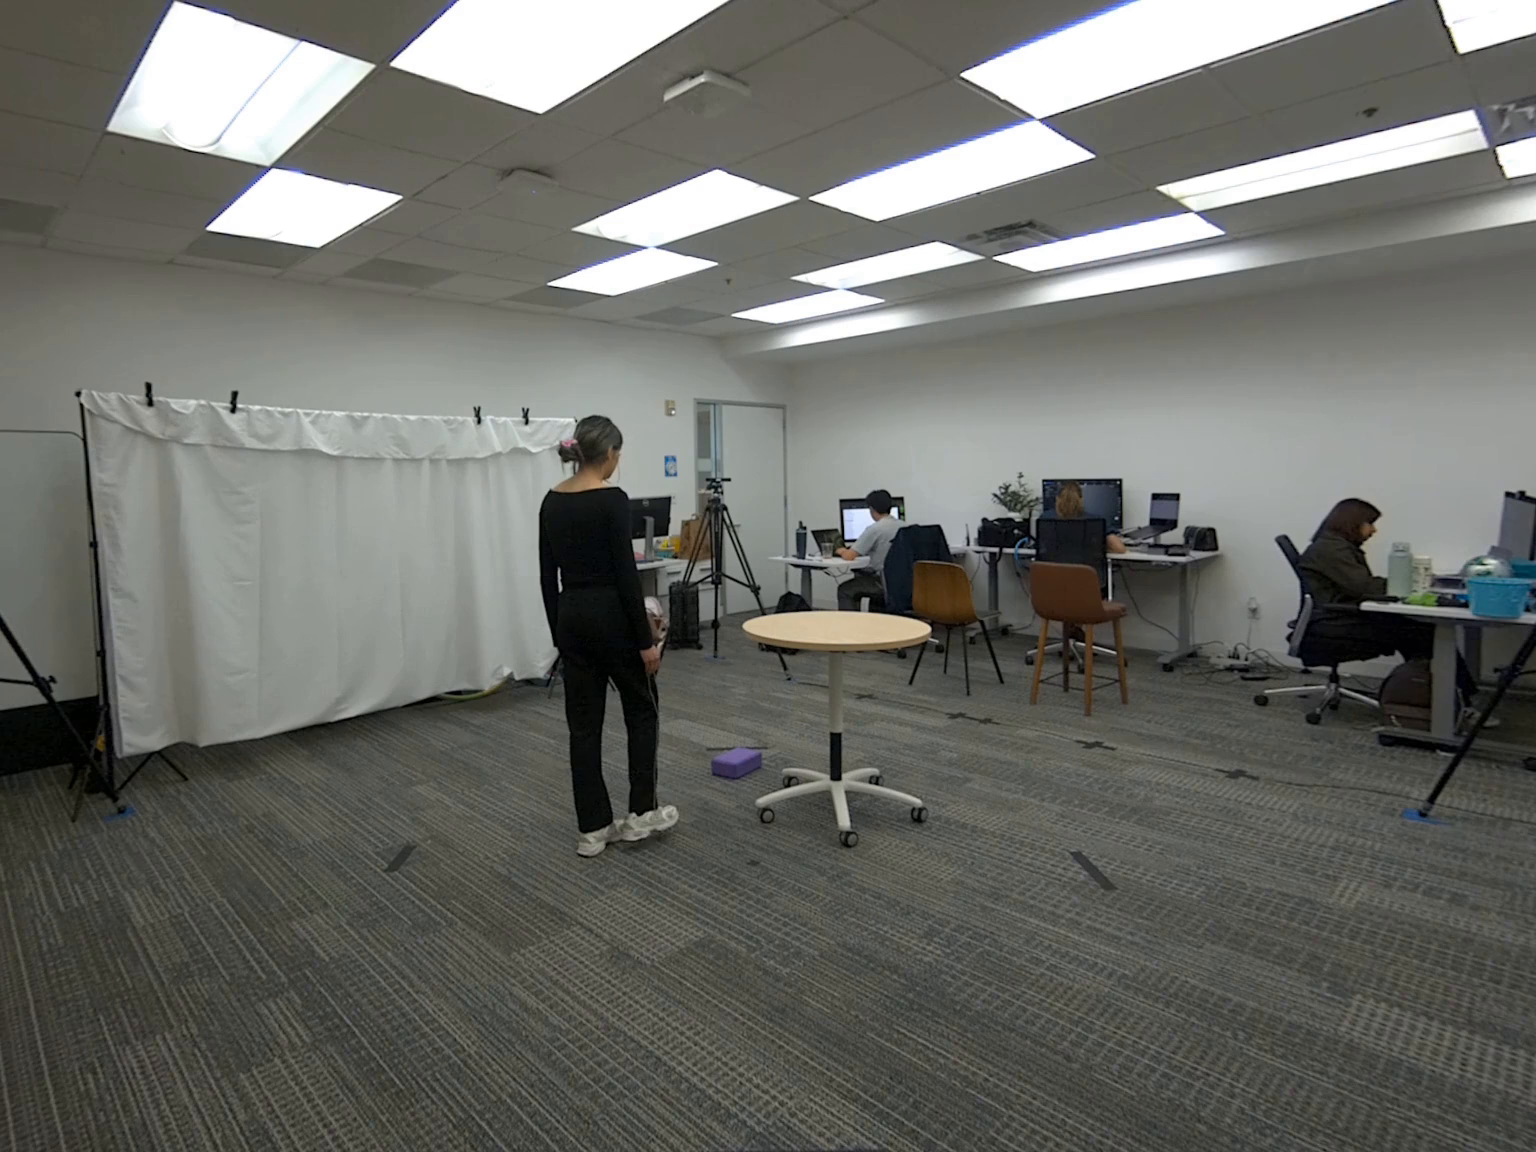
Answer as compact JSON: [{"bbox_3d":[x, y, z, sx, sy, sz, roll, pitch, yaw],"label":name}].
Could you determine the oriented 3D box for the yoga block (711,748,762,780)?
[{"bbox_3d":[-0.148,0.894,4.098,0.153,0.076,0.224,2,6,35],"label":"yoga block"}]
